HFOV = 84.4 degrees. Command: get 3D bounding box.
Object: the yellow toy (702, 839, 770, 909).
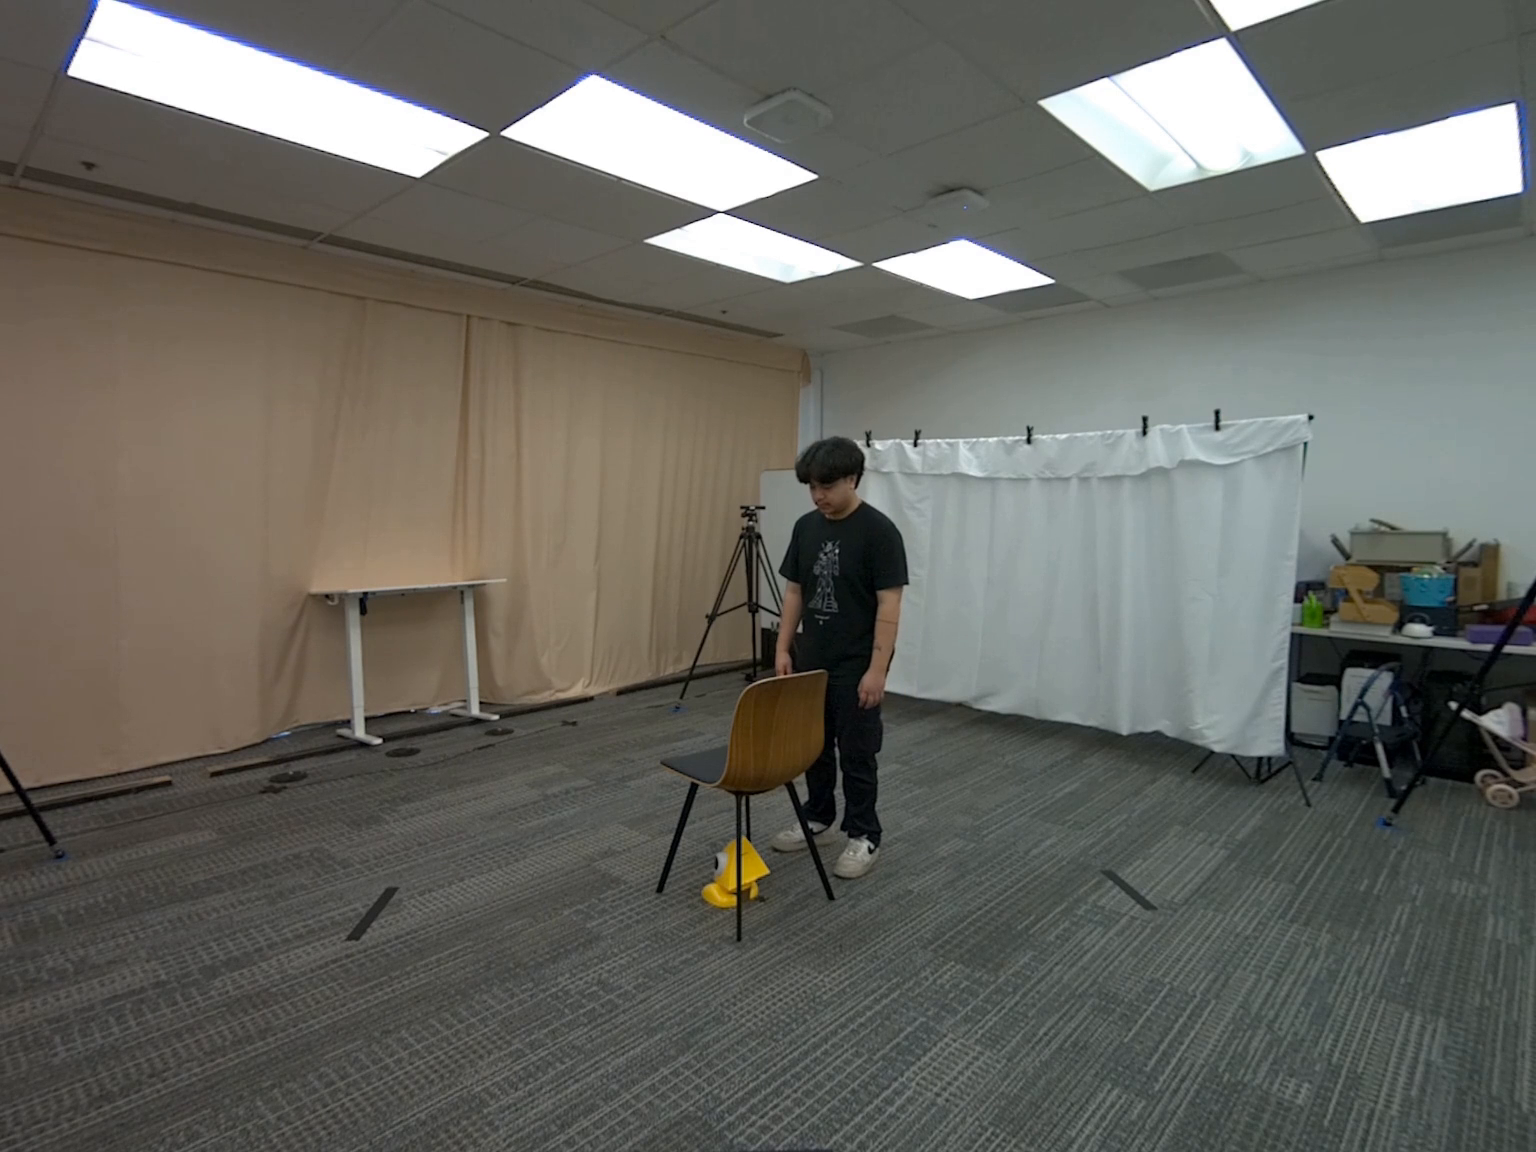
[{"bbox_3d":[-0.128,1.032,3.008,0.198,0.230,0.199,-3,4,-45],"label":"yellow toy"}]
